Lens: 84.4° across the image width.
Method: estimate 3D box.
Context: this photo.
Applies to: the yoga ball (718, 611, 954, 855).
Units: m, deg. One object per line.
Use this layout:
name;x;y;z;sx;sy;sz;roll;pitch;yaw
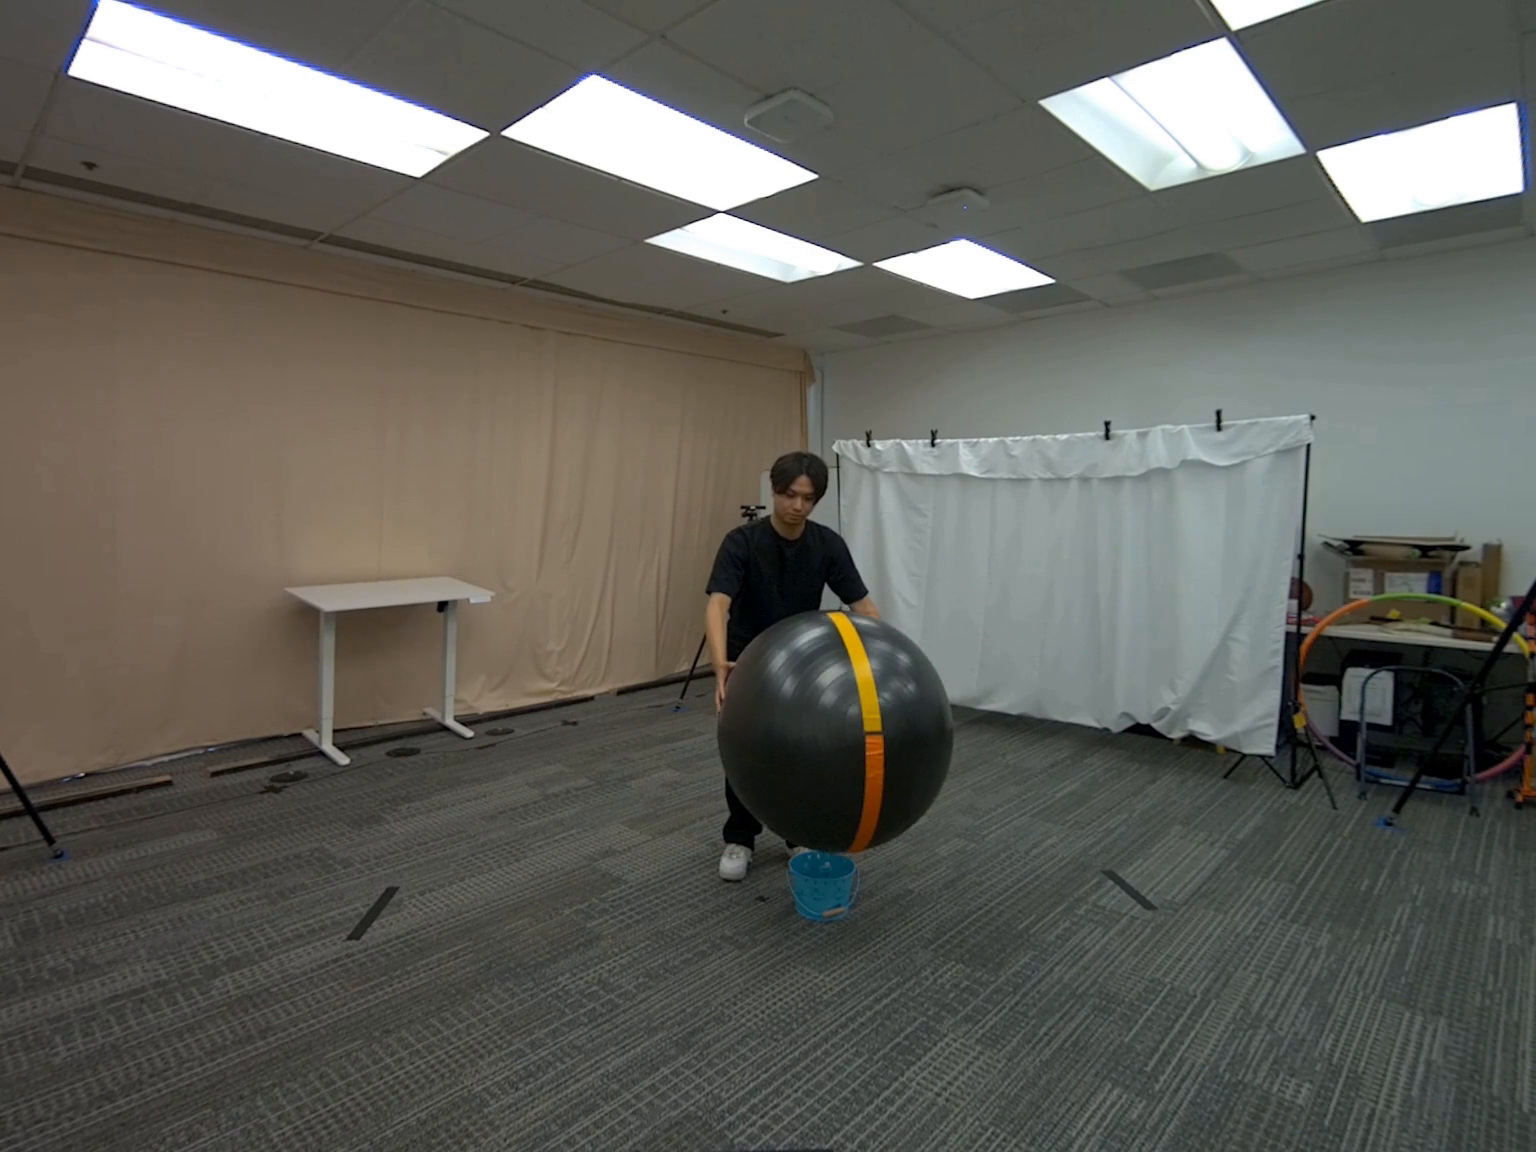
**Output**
yoga ball;0.221;0.492;2.723;0.757;0.756;0.760;0;4;-2
